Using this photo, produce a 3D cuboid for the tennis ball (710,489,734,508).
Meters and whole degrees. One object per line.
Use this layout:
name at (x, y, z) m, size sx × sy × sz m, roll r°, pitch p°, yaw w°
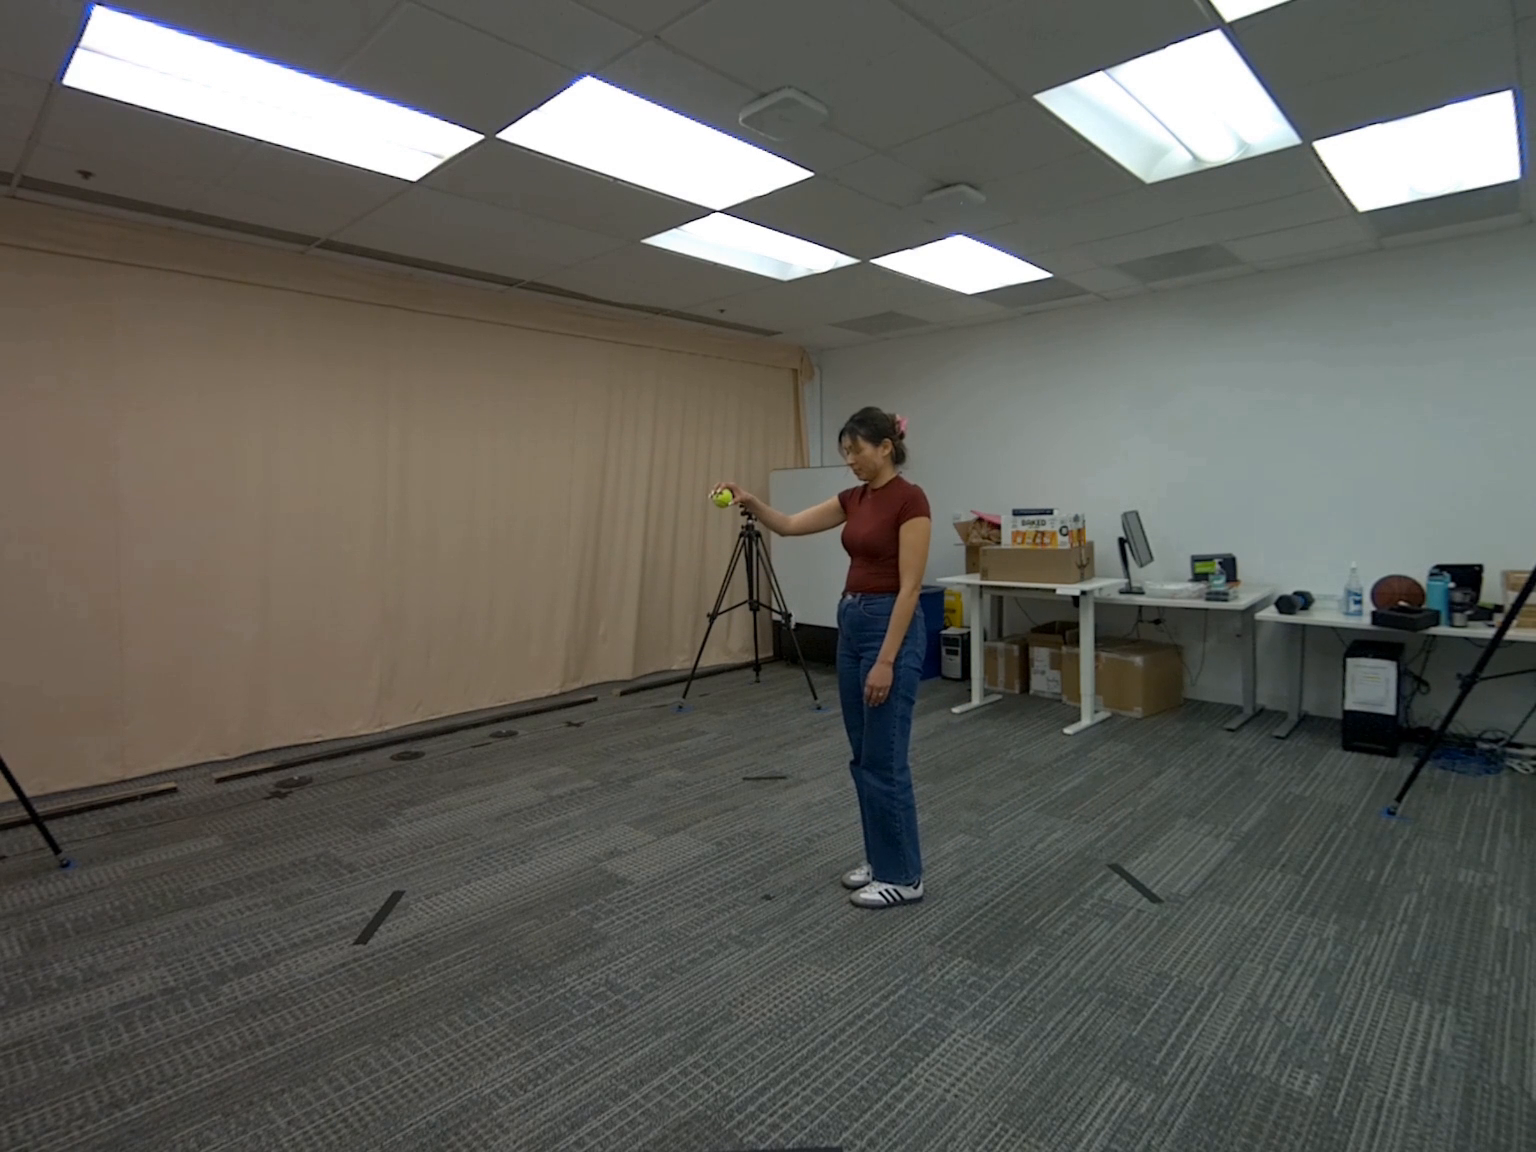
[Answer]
tennis ball at (-0.147, -0.251, 2.838) m, size 0.066 × 0.066 × 0.067 m, roll -1°, pitch 4°, yaw -2°
